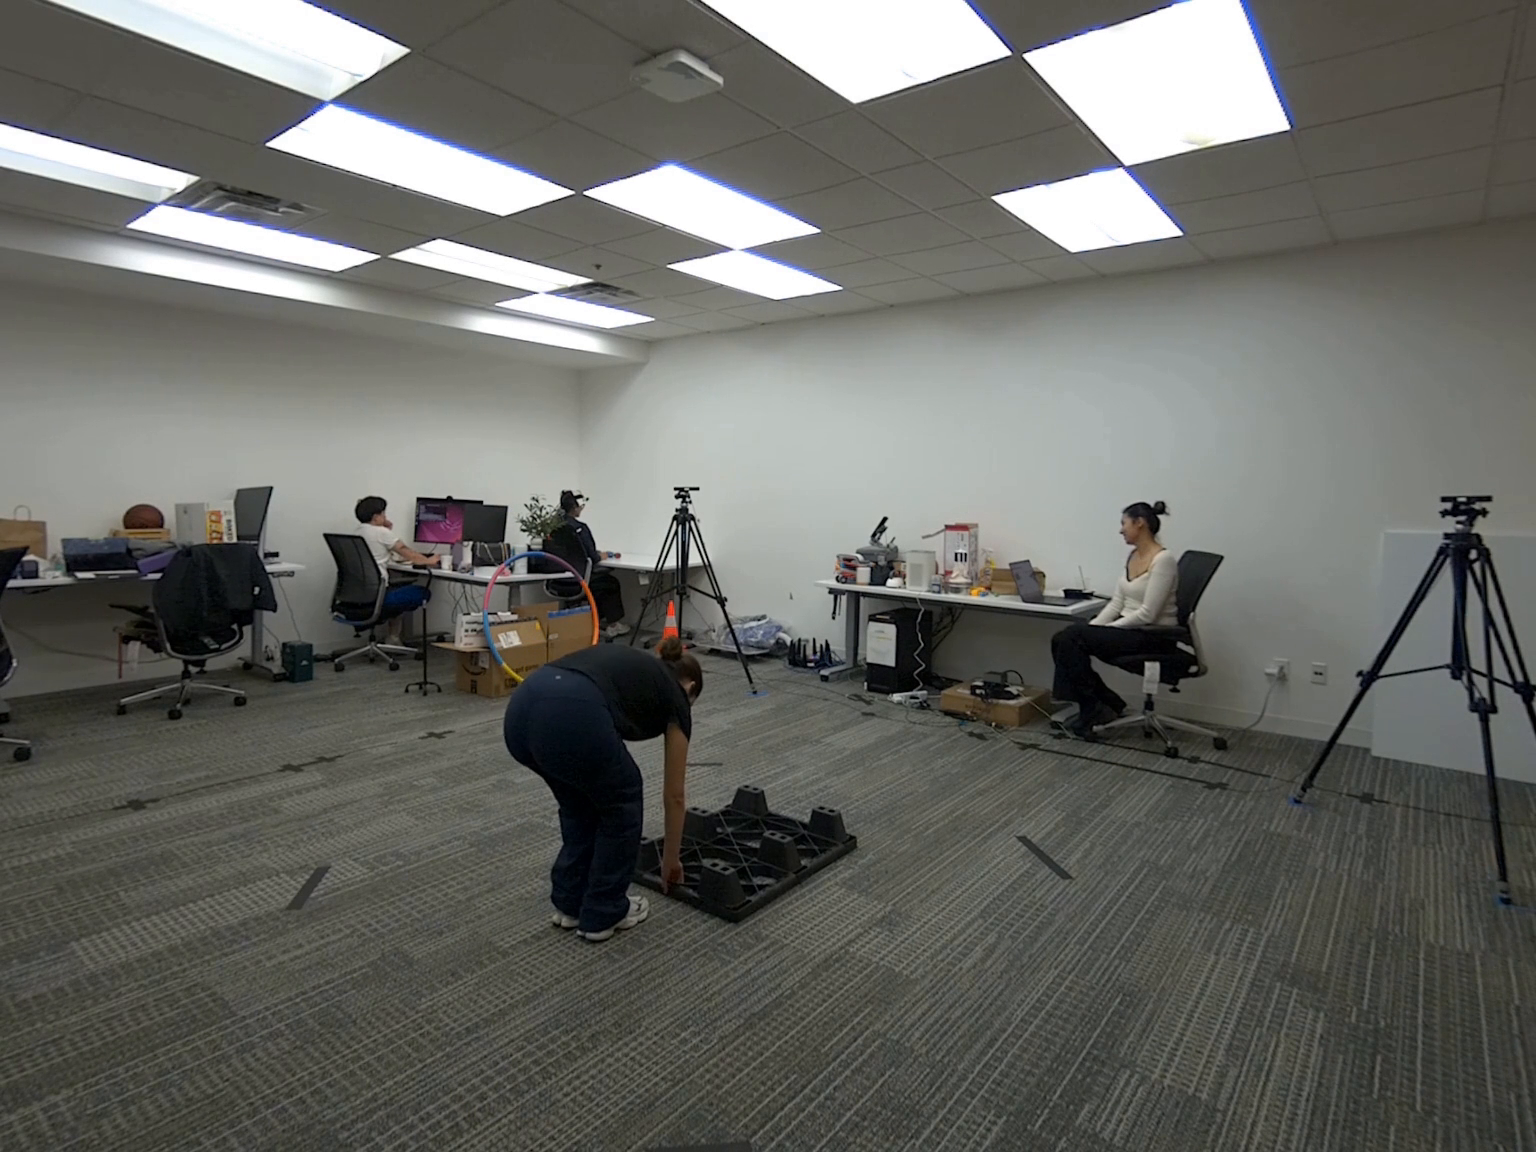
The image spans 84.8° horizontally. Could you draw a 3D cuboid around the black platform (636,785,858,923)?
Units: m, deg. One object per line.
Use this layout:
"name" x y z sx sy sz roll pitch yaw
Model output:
"black platform" -0.103 0.989 3.212 0.625 0.143 0.782 6 7 37
